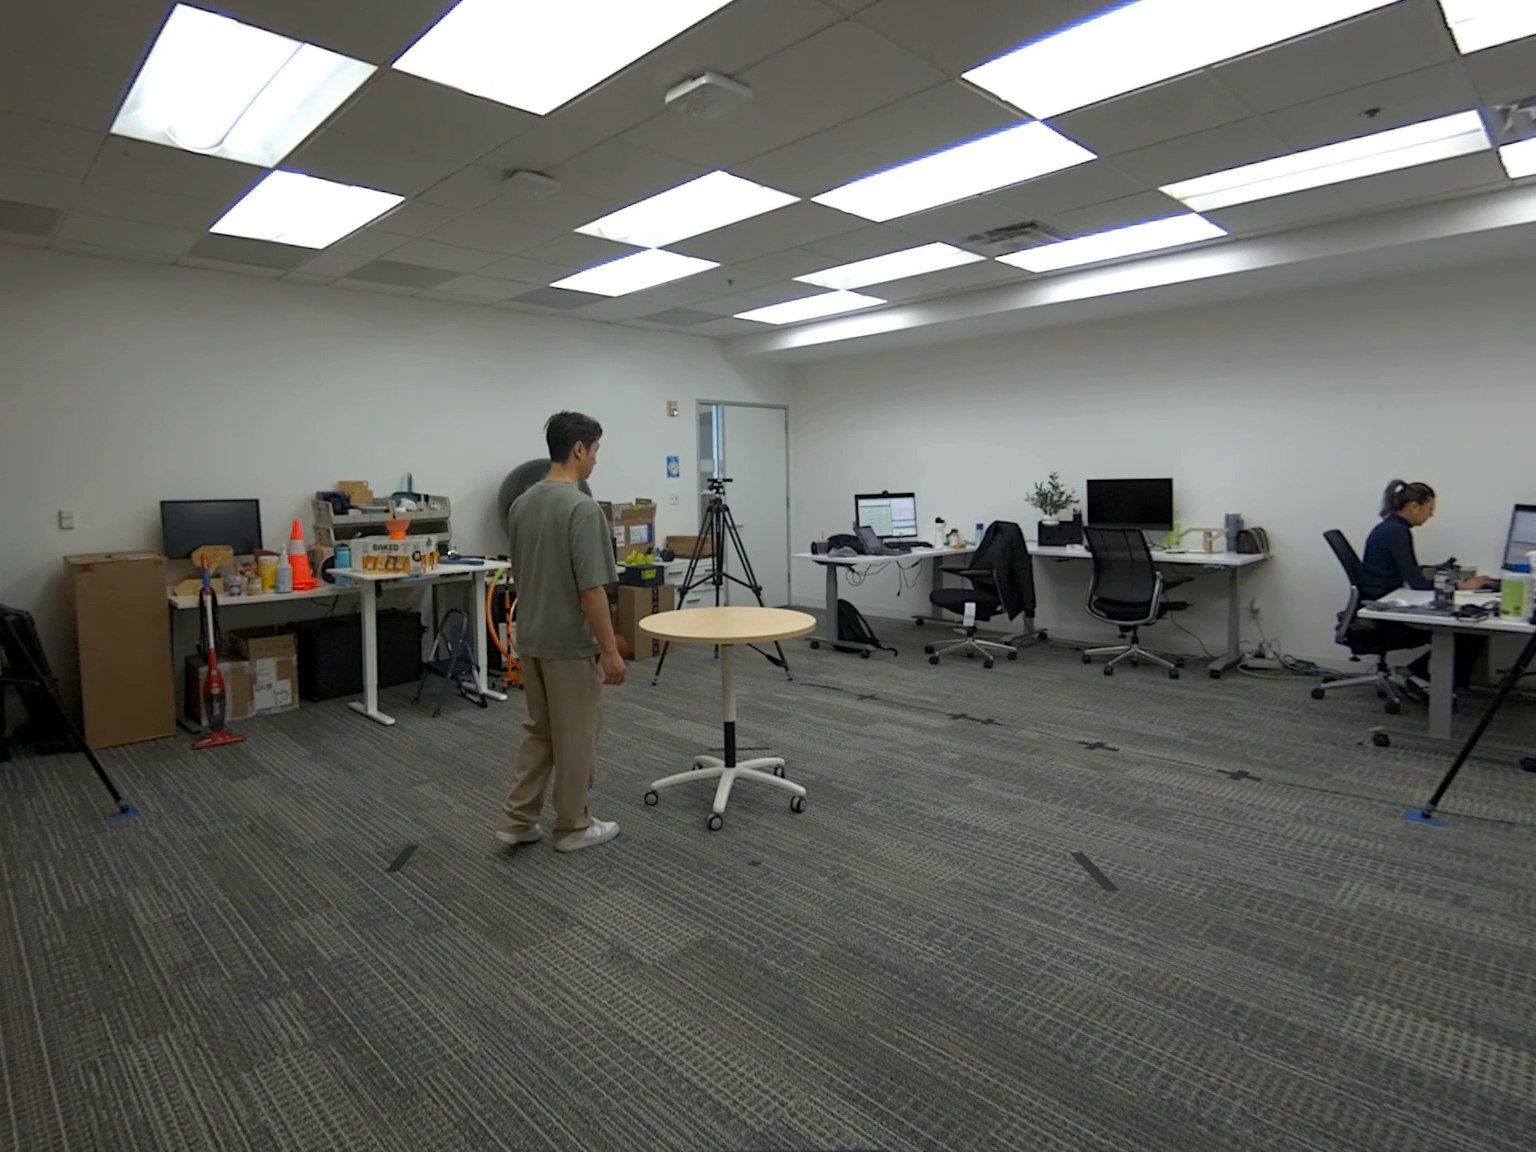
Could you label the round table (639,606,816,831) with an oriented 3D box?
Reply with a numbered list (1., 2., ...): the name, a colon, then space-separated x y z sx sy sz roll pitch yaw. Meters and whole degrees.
1. round table: -0.161 0.584 3.716 0.784 0.783 0.789 -1 5 -2
